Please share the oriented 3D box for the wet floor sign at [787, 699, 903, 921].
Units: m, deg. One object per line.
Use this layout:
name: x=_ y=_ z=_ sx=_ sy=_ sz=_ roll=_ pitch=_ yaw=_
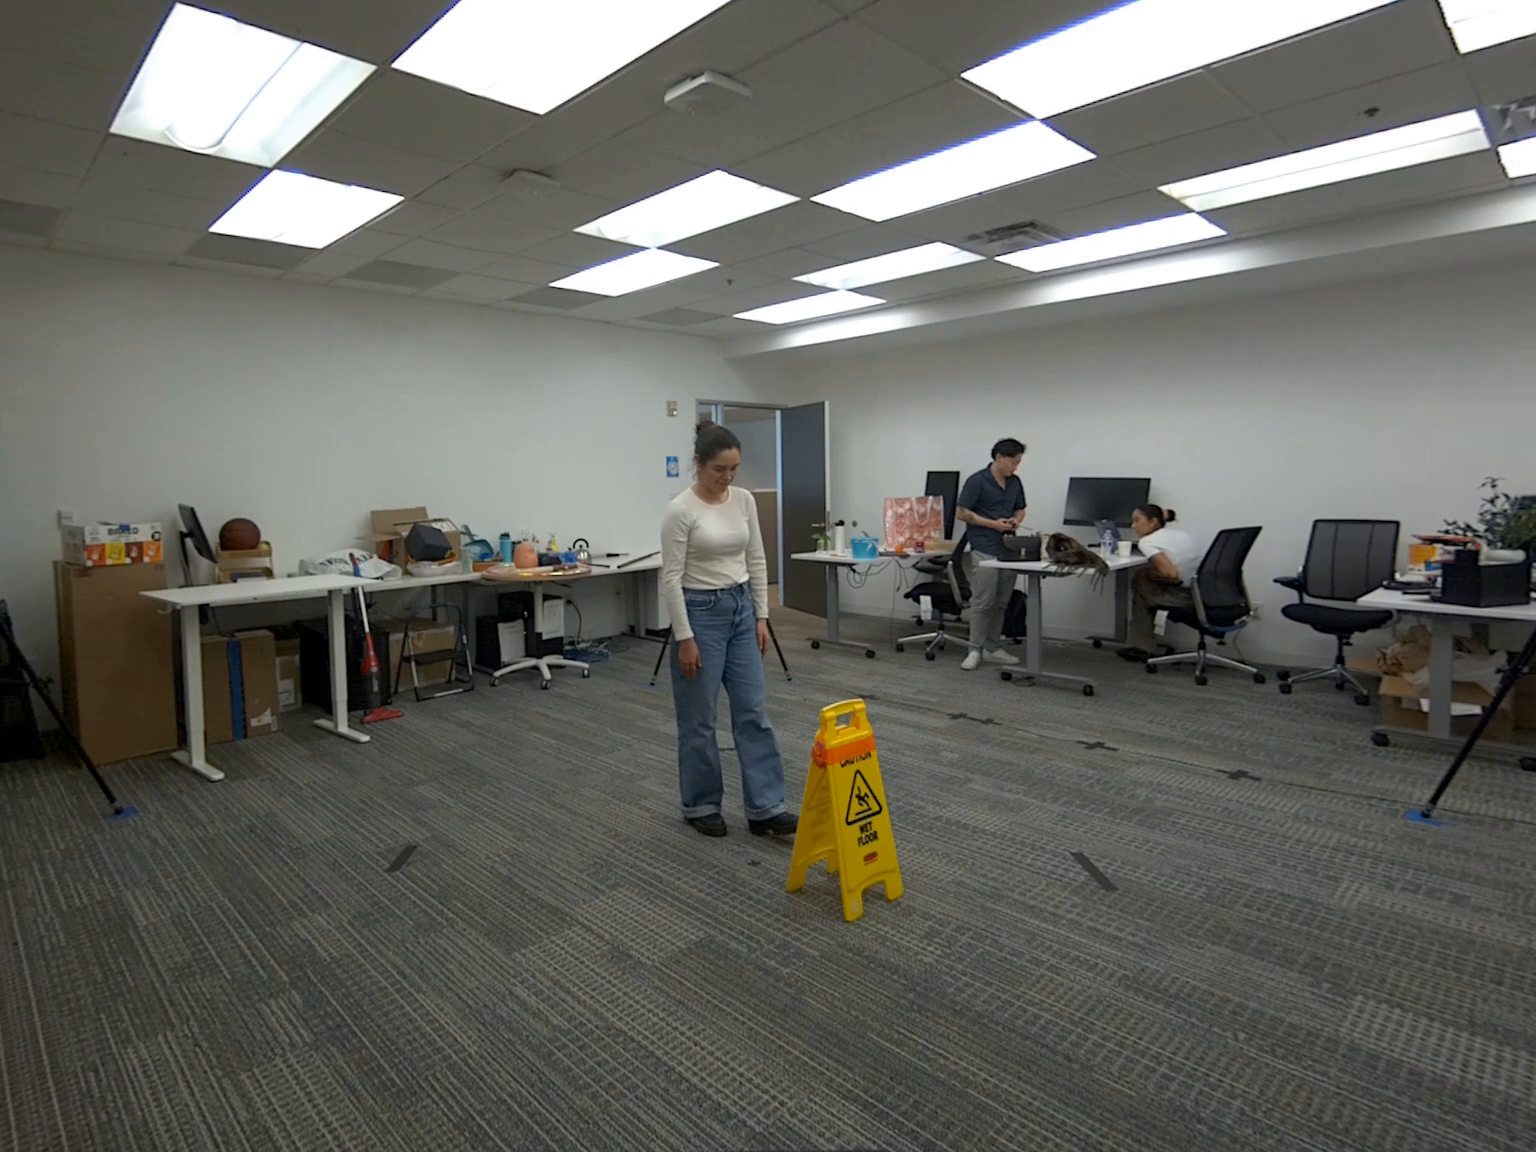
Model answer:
wet floor sign: x=0.251 y=0.741 z=2.855 sx=0.275 sy=0.644 sz=0.298 roll=-4 pitch=4 yaw=-42
